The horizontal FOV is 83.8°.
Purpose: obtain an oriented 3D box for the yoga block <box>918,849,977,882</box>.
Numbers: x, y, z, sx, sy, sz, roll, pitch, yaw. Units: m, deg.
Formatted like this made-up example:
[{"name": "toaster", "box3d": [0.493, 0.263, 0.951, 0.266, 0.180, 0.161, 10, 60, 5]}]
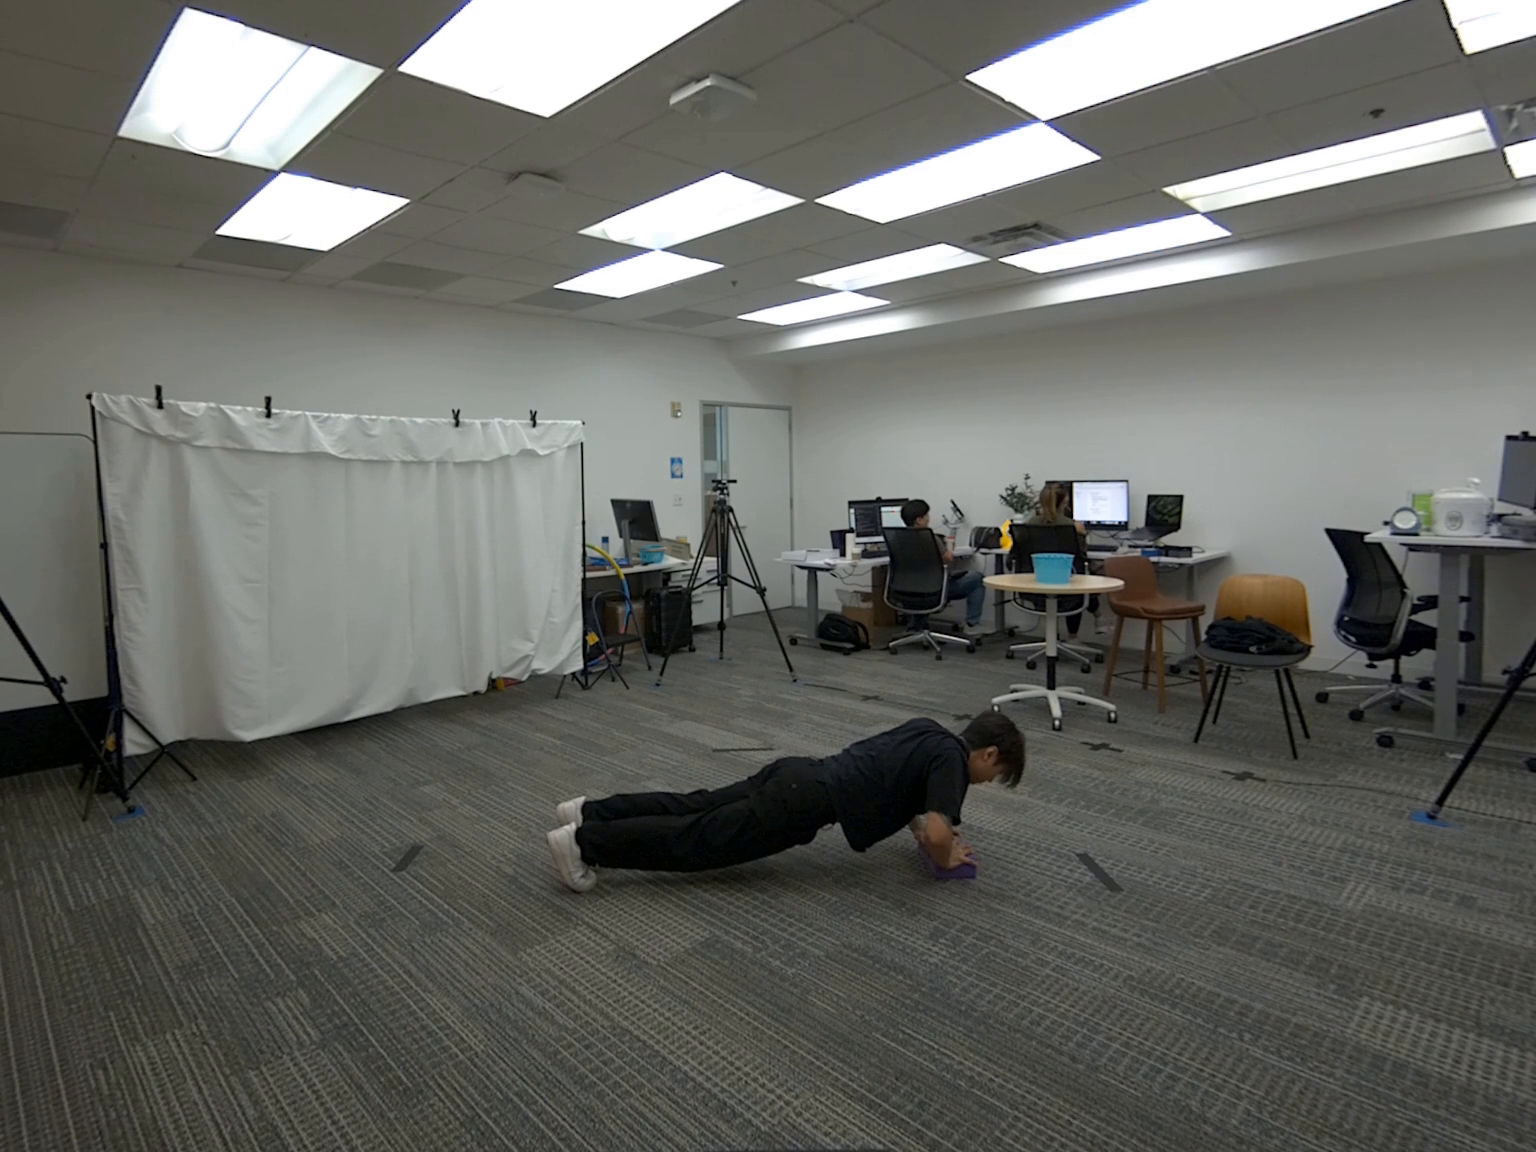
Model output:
[{"name": "yoga block", "box3d": [0.637, 1.001, 3.071, 0.148, 0.076, 0.231, 0, 5, -6]}]
